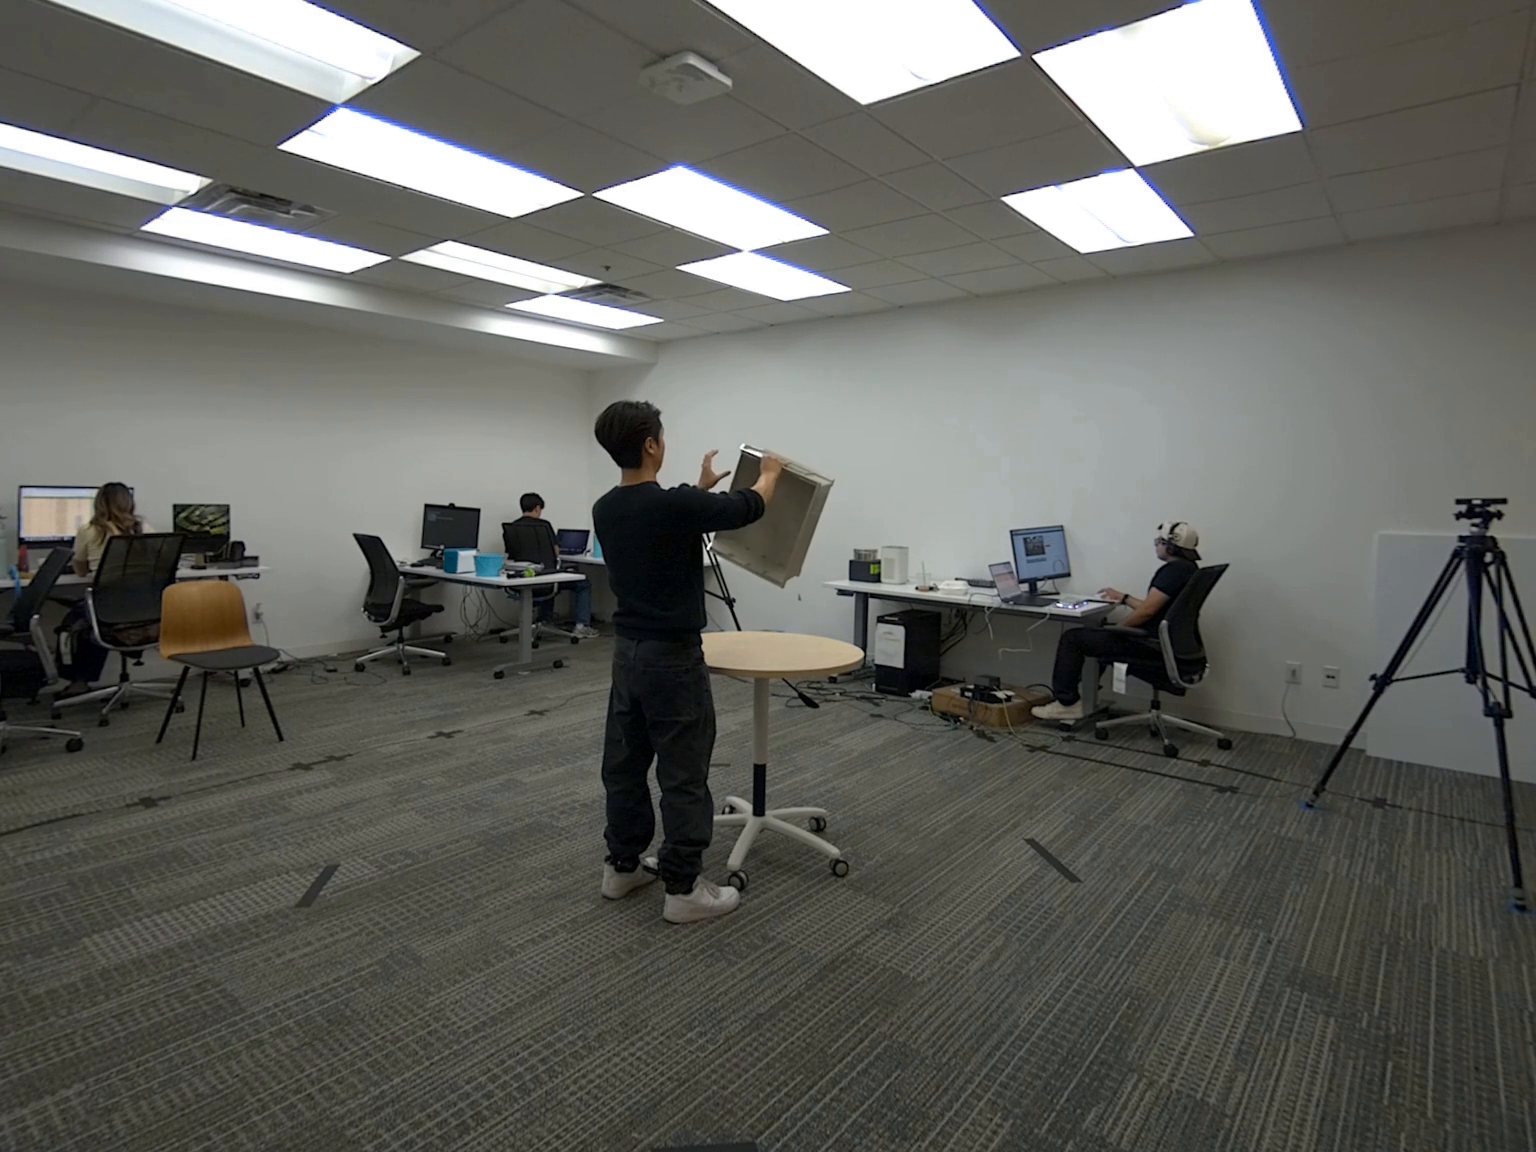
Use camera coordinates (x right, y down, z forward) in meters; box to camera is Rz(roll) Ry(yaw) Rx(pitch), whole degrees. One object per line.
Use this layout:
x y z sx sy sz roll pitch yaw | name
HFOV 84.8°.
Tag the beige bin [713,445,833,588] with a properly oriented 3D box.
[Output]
-0.021 -0.239 3.201 0.389 0.418 0.185 28 19 23 | beige bin
